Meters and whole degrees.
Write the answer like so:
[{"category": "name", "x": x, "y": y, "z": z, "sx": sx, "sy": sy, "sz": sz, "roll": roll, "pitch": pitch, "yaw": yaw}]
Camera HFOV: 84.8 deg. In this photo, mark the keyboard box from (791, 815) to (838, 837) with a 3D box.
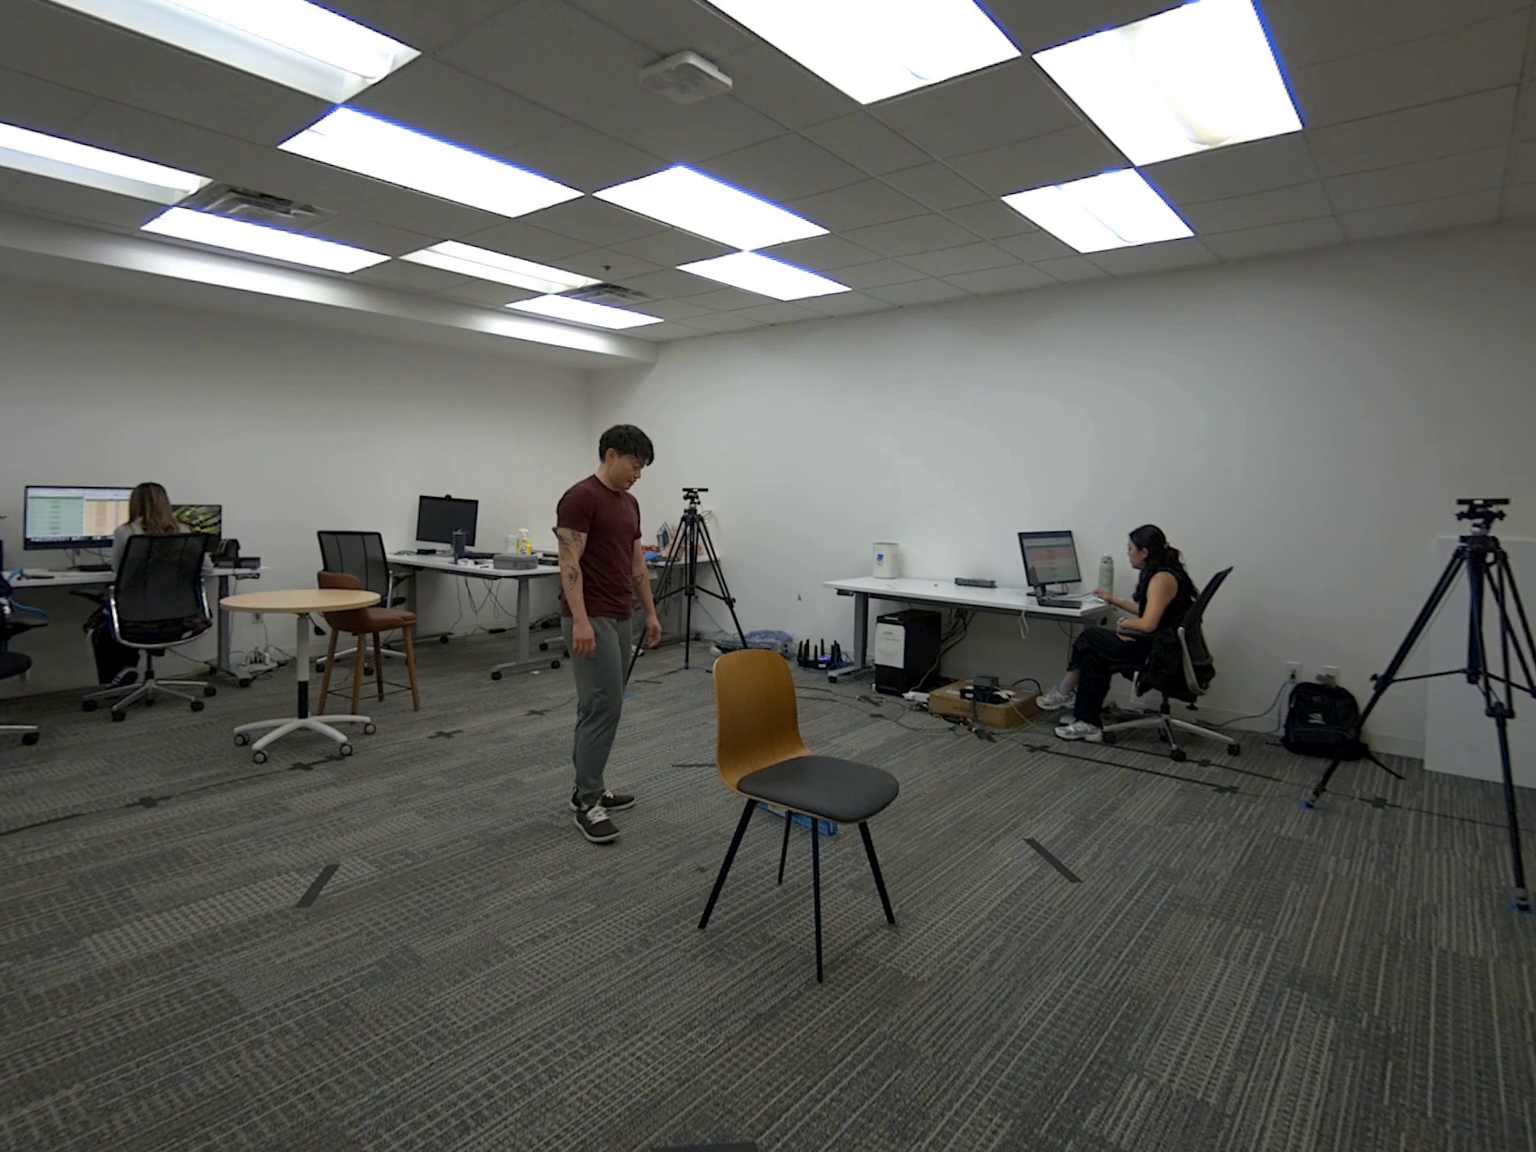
[{"category": "keyboard box", "x": 0.101, "y": 0.937, "z": 3.596, "sx": 0.057, "sy": 0.175, "sz": 0.452, "roll": -9, "pitch": 10, "yaw": -41}]
